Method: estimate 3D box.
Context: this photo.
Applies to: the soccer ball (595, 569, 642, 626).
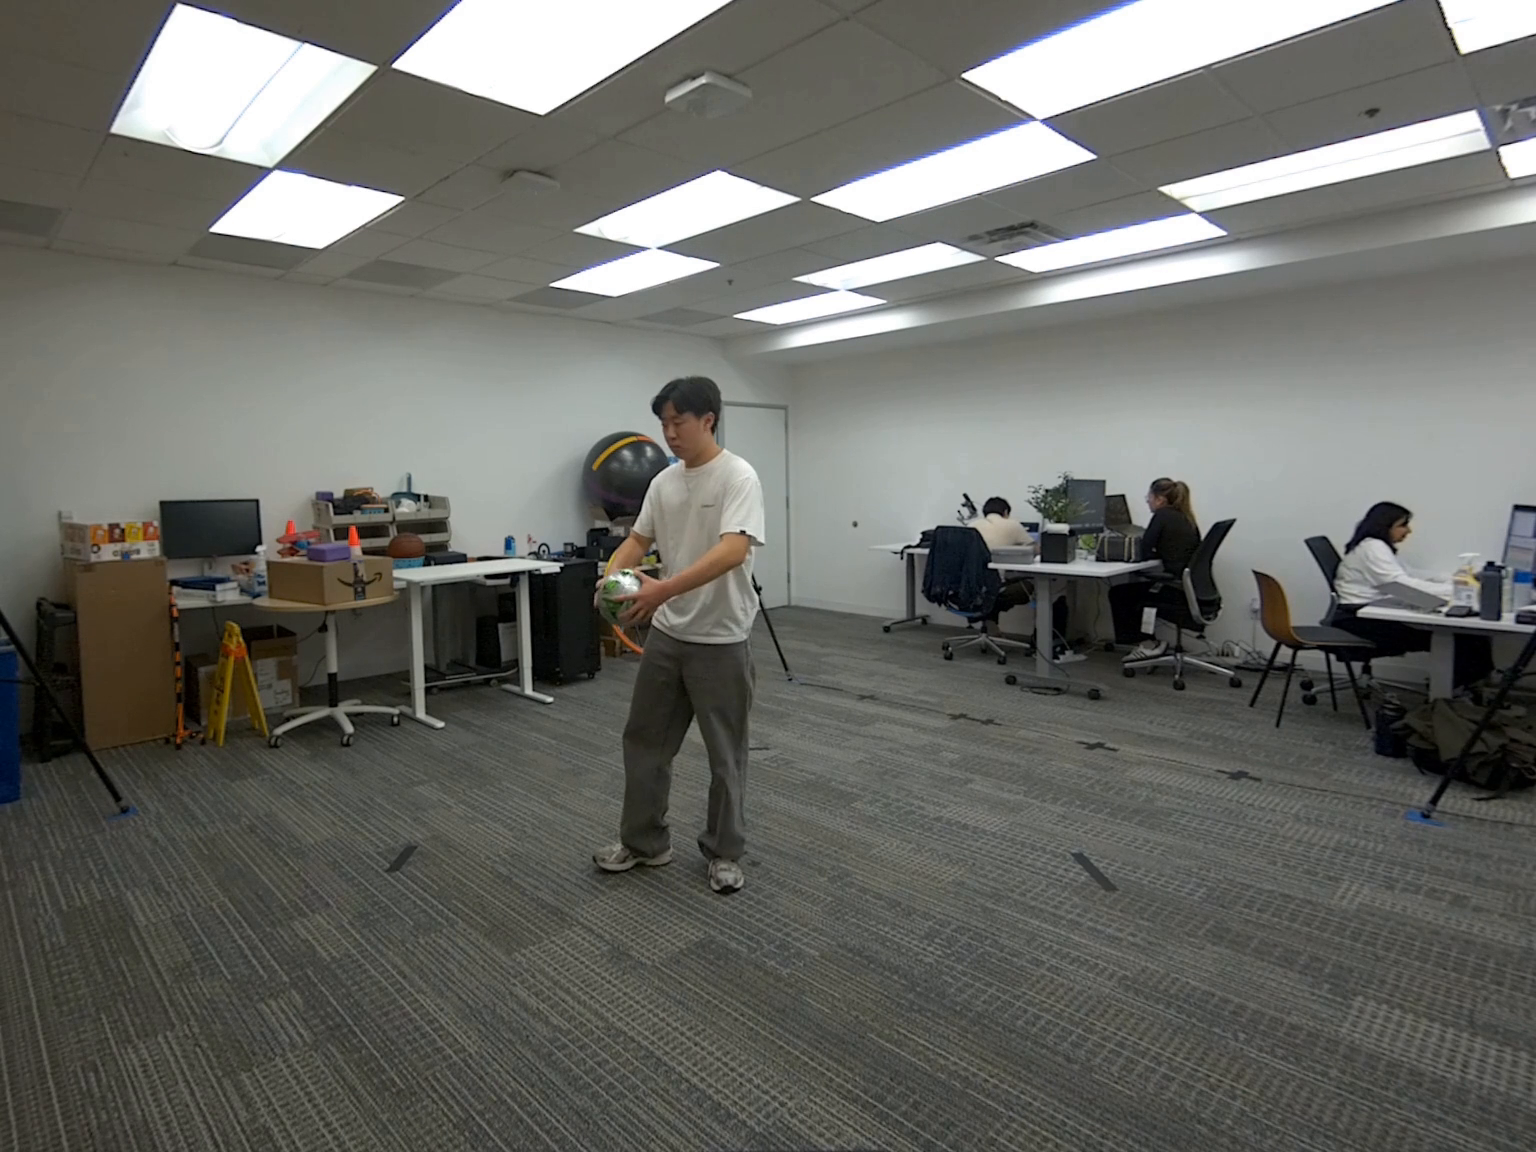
[{"bbox_3d":[-0.422,0.077,2.744,0.187,0.187,0.188,-1,5,-2],"label":"soccer ball"}]
